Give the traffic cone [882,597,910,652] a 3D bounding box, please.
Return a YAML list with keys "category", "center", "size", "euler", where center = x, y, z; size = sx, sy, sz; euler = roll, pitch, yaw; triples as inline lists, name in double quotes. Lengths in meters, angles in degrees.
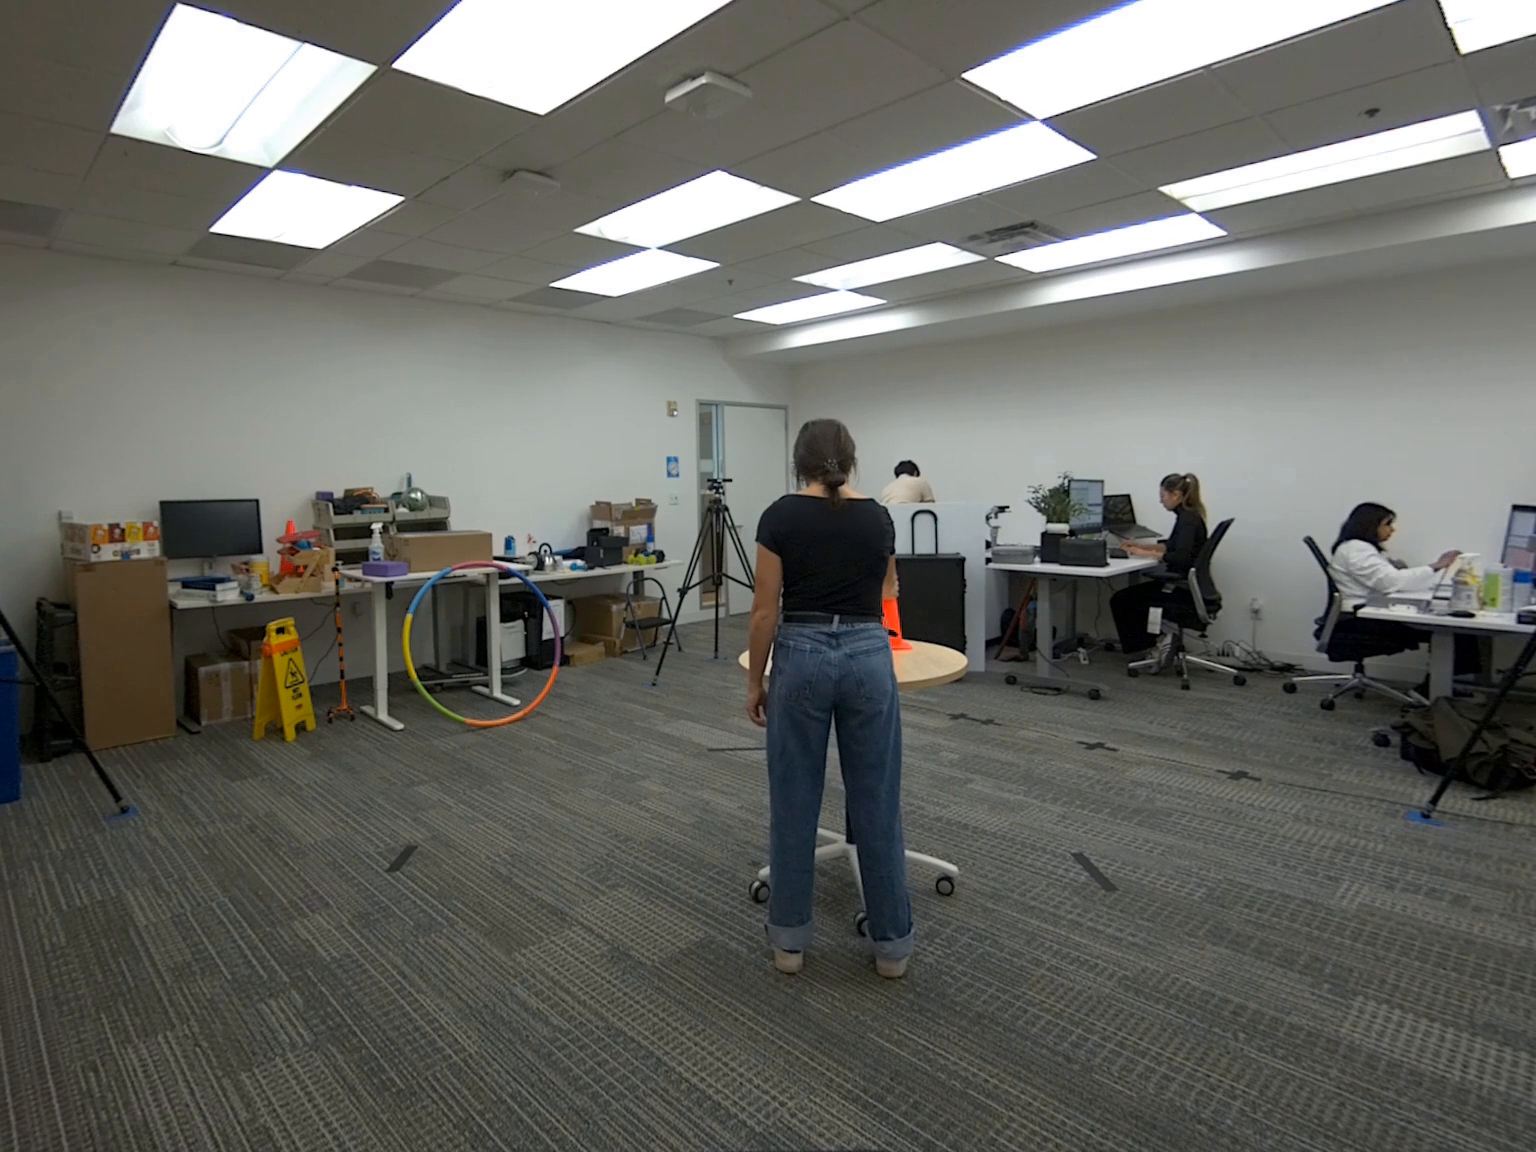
- category: "traffic cone"
  center: [0.414, 0.056, 3.098]
  size: [0.202, 0.382, 0.207]
  euler: [-1, 5, -7]
